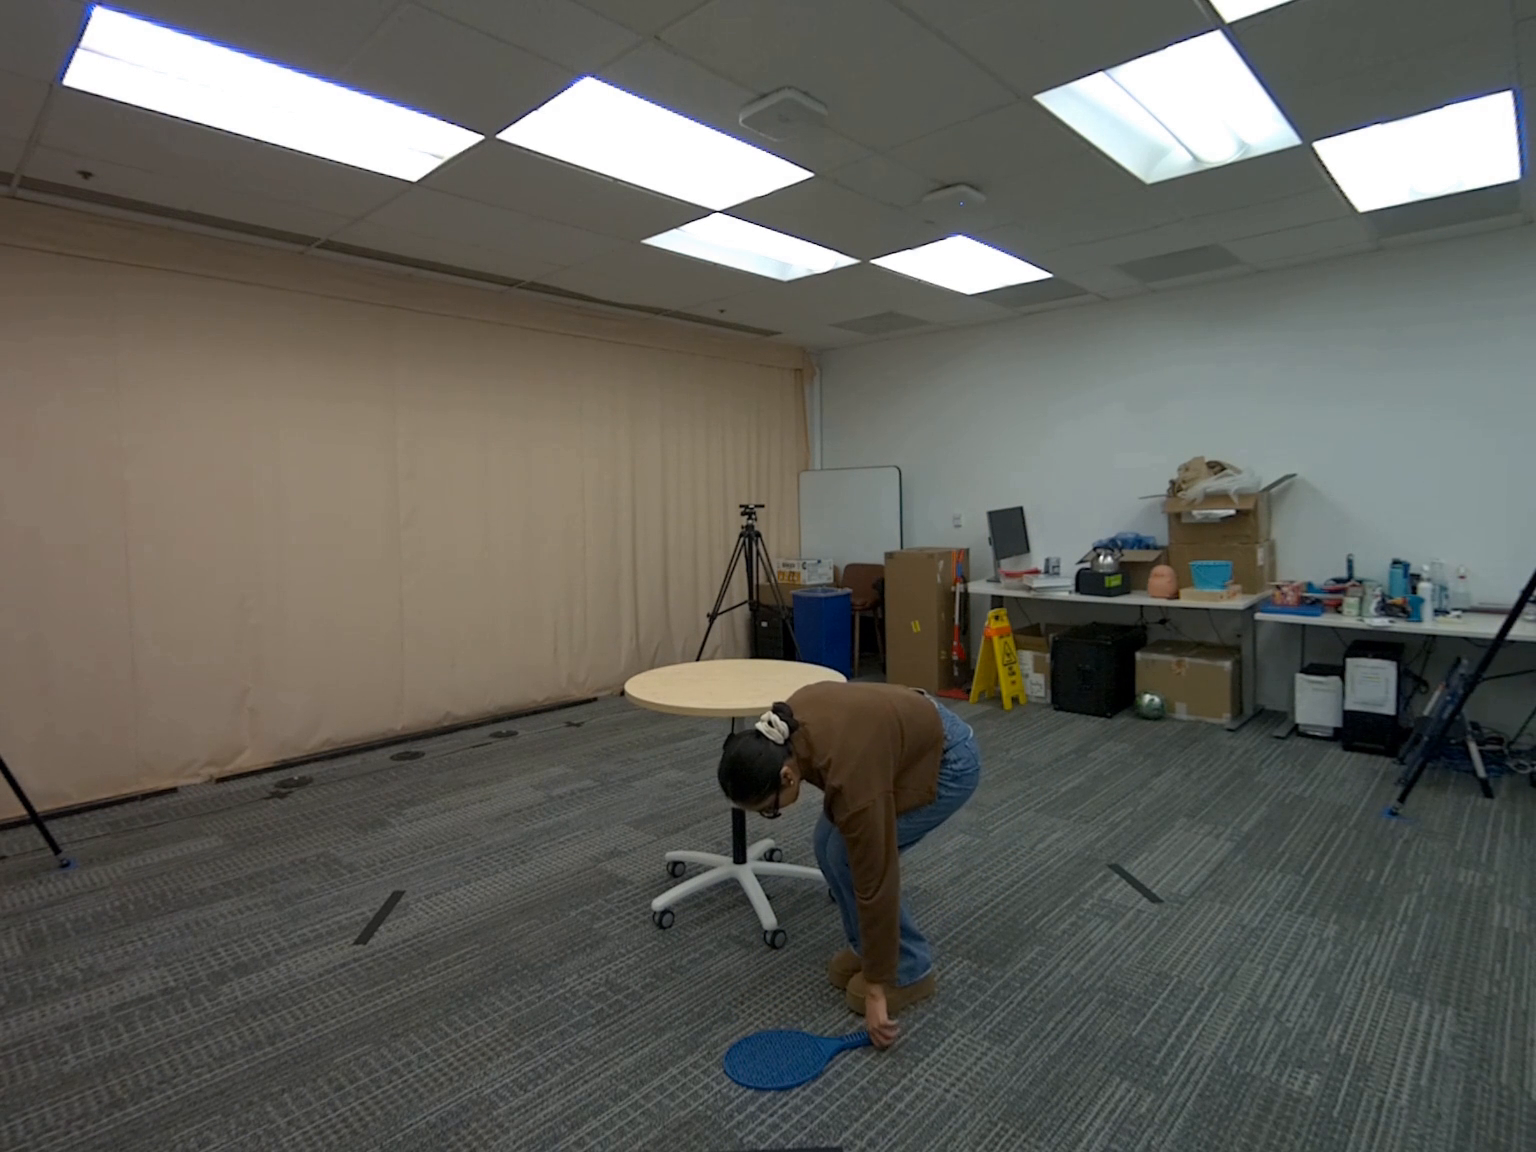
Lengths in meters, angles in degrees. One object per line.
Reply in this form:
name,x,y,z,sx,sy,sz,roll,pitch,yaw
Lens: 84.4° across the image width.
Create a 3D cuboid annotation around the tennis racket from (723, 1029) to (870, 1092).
tennis racket,0.097,1.191,2.138,0.425,0.031,0.218,-3,6,-17
